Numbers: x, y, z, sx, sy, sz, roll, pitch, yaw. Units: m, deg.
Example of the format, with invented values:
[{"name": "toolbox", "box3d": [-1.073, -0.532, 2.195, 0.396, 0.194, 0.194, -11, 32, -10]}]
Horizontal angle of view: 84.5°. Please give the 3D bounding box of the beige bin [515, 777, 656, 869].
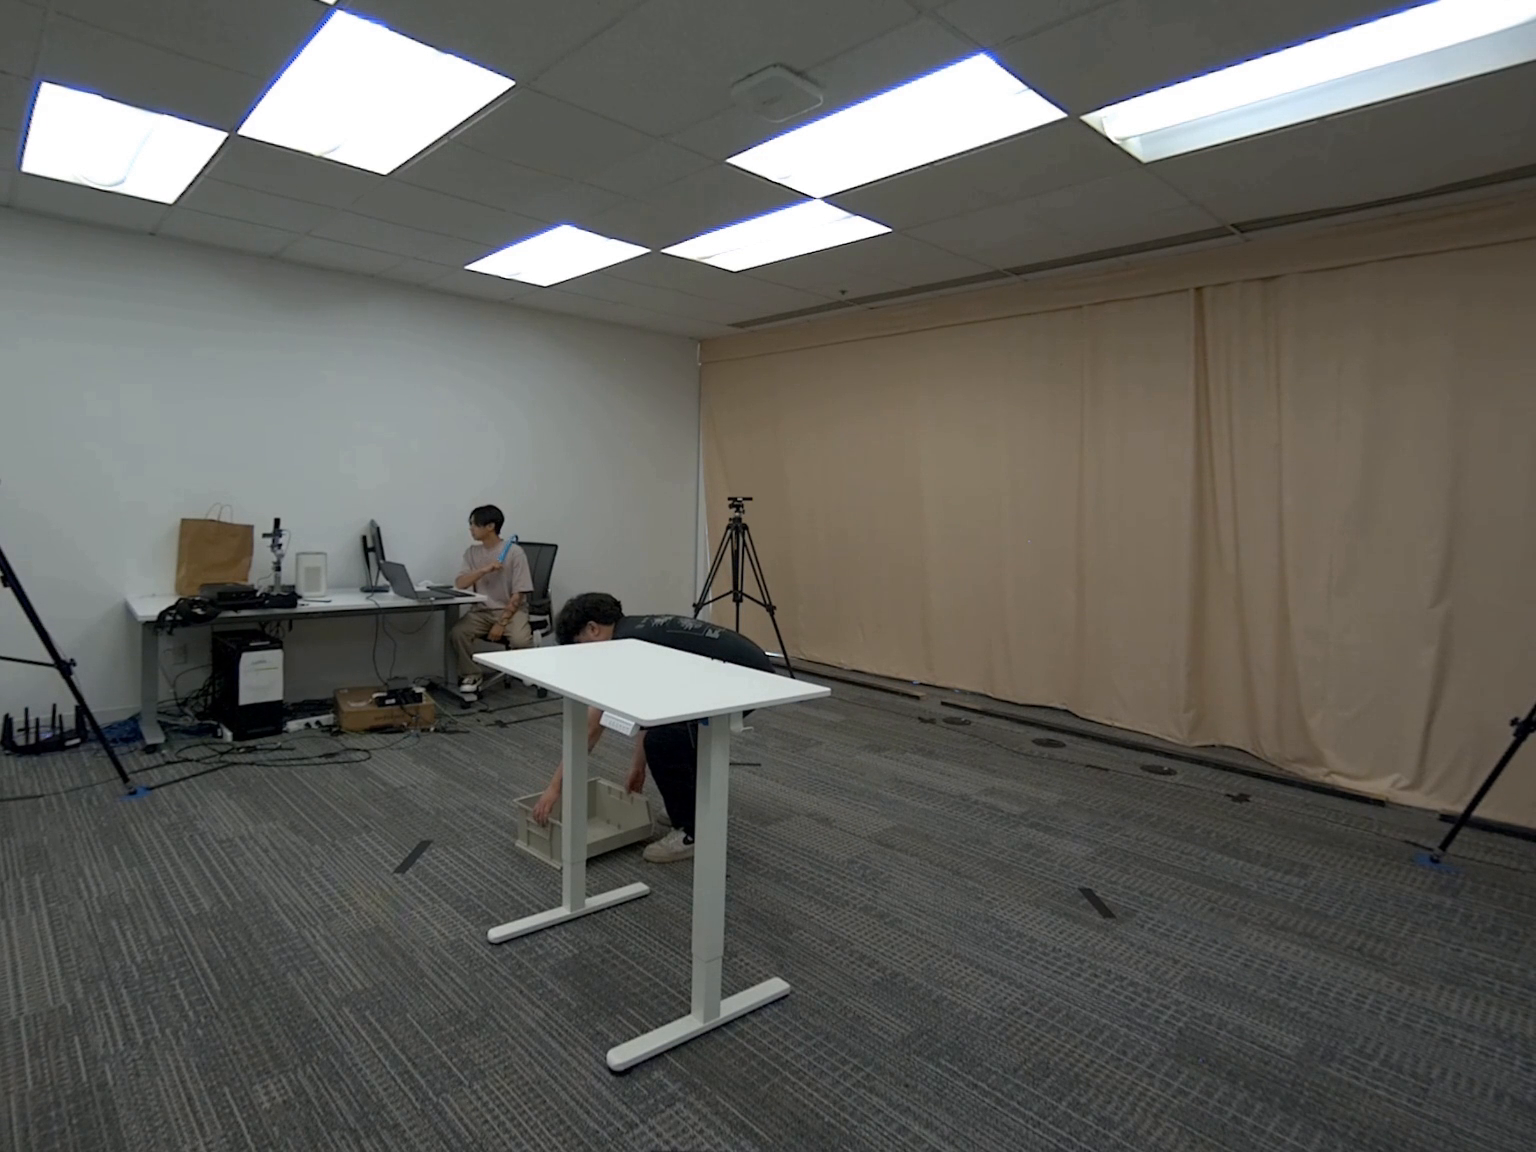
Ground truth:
[{"name": "beige bin", "box3d": [-0.732, 0.978, 3.354, 0.387, 0.188, 0.413, 5, 6, 42]}]
